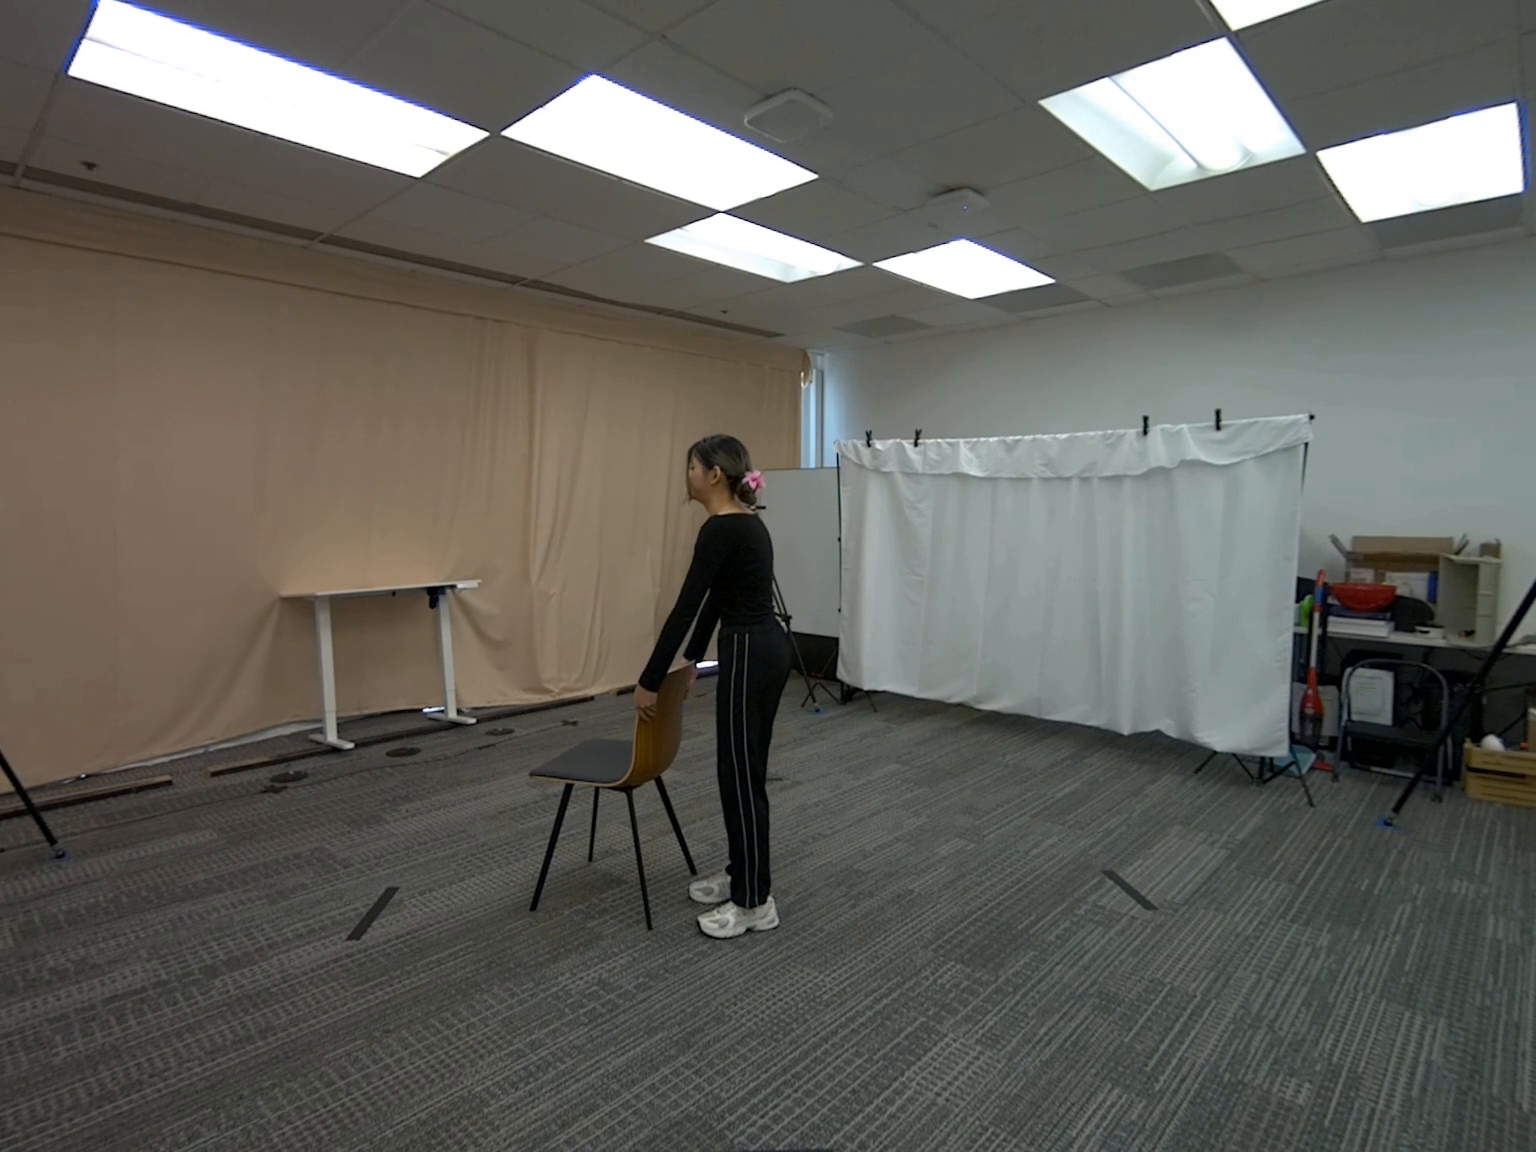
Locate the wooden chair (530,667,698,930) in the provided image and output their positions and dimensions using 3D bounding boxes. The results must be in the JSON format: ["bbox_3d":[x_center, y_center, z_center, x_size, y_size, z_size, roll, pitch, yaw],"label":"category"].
[{"bbox_3d":[-0.550,0.717,3.014,0.533,0.875,0.470,5,5,16],"label":"wooden chair"}]
